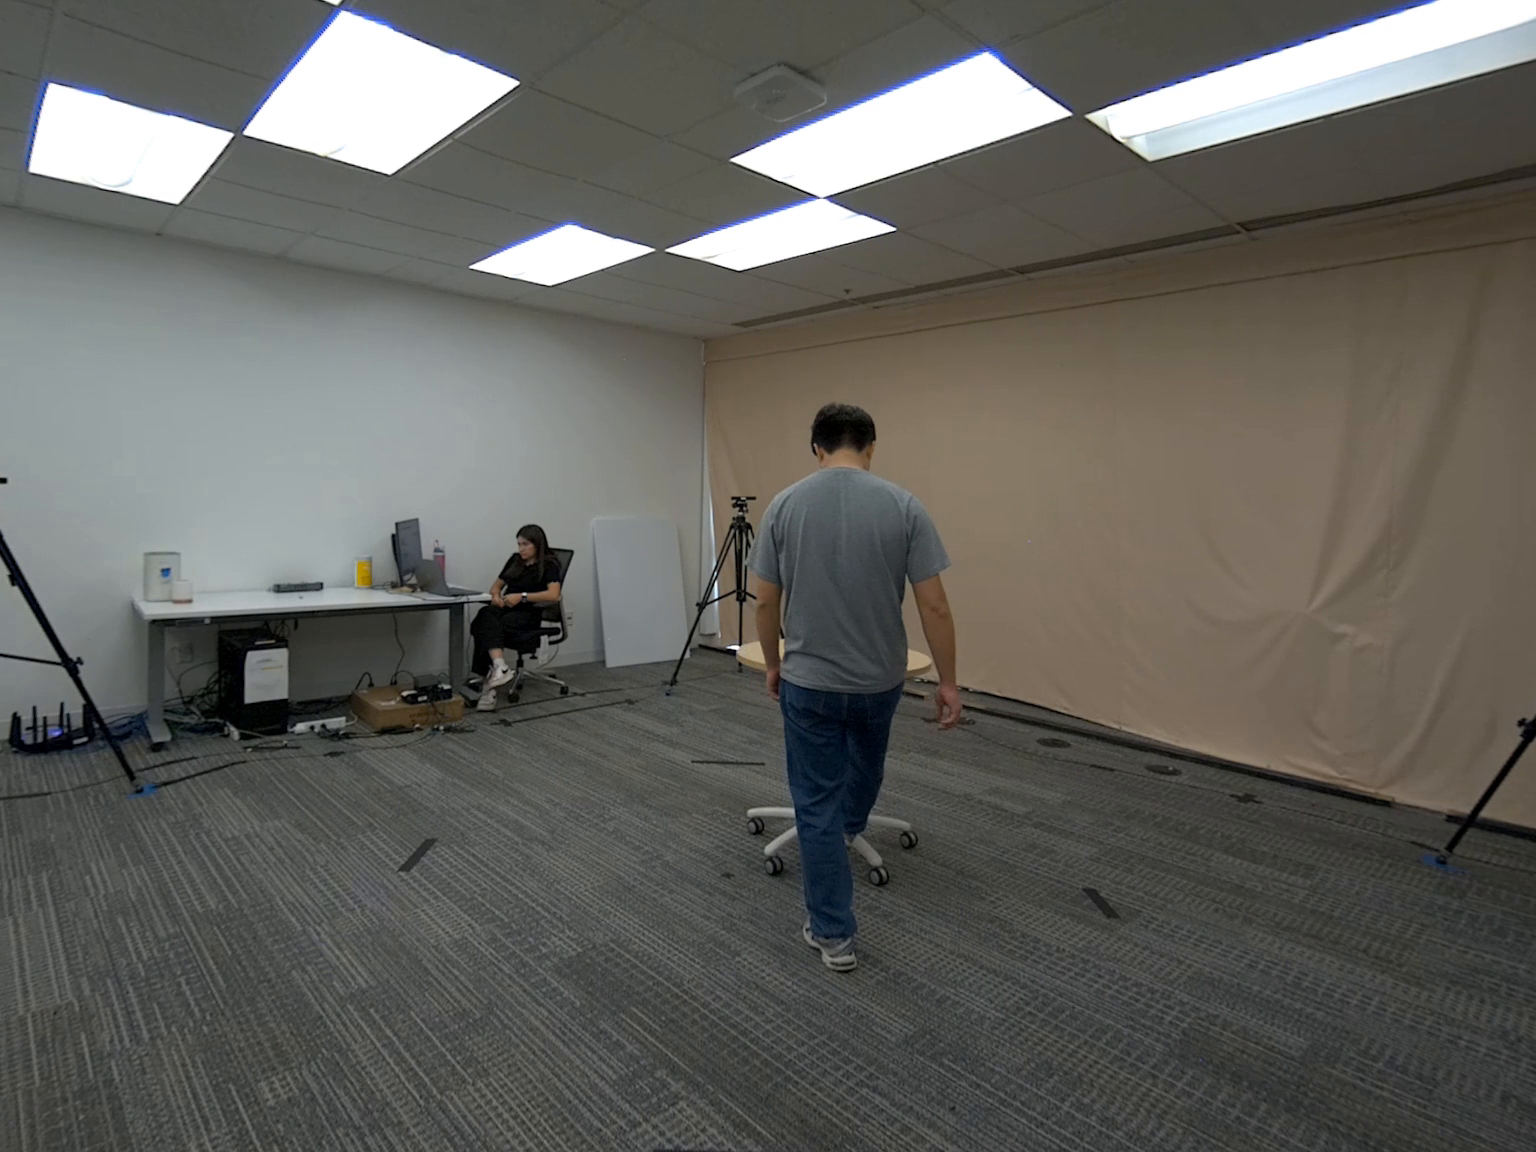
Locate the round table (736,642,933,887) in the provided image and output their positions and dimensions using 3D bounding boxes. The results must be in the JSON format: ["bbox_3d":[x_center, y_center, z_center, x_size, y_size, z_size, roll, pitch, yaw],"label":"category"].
[{"bbox_3d":[0.248,0.707,3.350,0.763,0.792,0.766,2,4,-1],"label":"round table"}]
